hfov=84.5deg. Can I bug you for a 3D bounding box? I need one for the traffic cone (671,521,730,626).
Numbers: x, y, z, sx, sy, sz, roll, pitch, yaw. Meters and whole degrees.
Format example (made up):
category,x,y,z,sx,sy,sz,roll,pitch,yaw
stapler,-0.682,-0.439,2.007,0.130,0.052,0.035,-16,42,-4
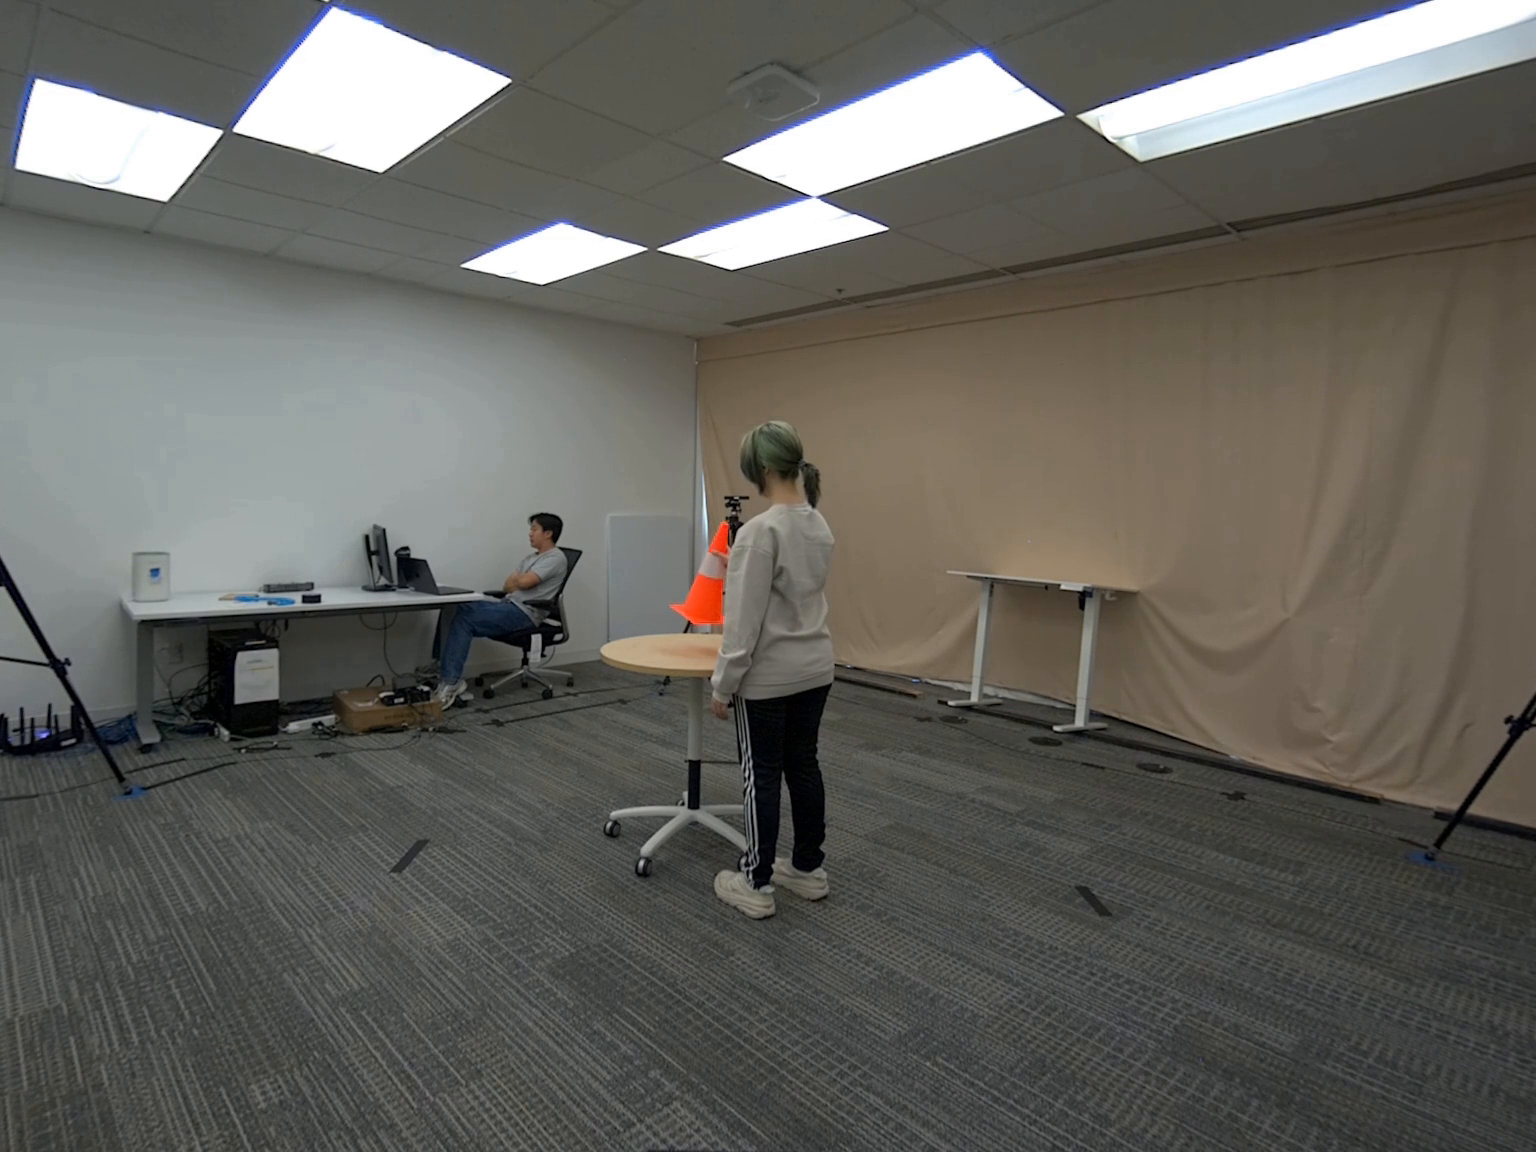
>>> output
category,x,y,z,sx,sy,sz,roll,pitch,yaw
traffic cone,-0.219,-0.024,3.289,0.209,0.381,0.200,22,13,35
